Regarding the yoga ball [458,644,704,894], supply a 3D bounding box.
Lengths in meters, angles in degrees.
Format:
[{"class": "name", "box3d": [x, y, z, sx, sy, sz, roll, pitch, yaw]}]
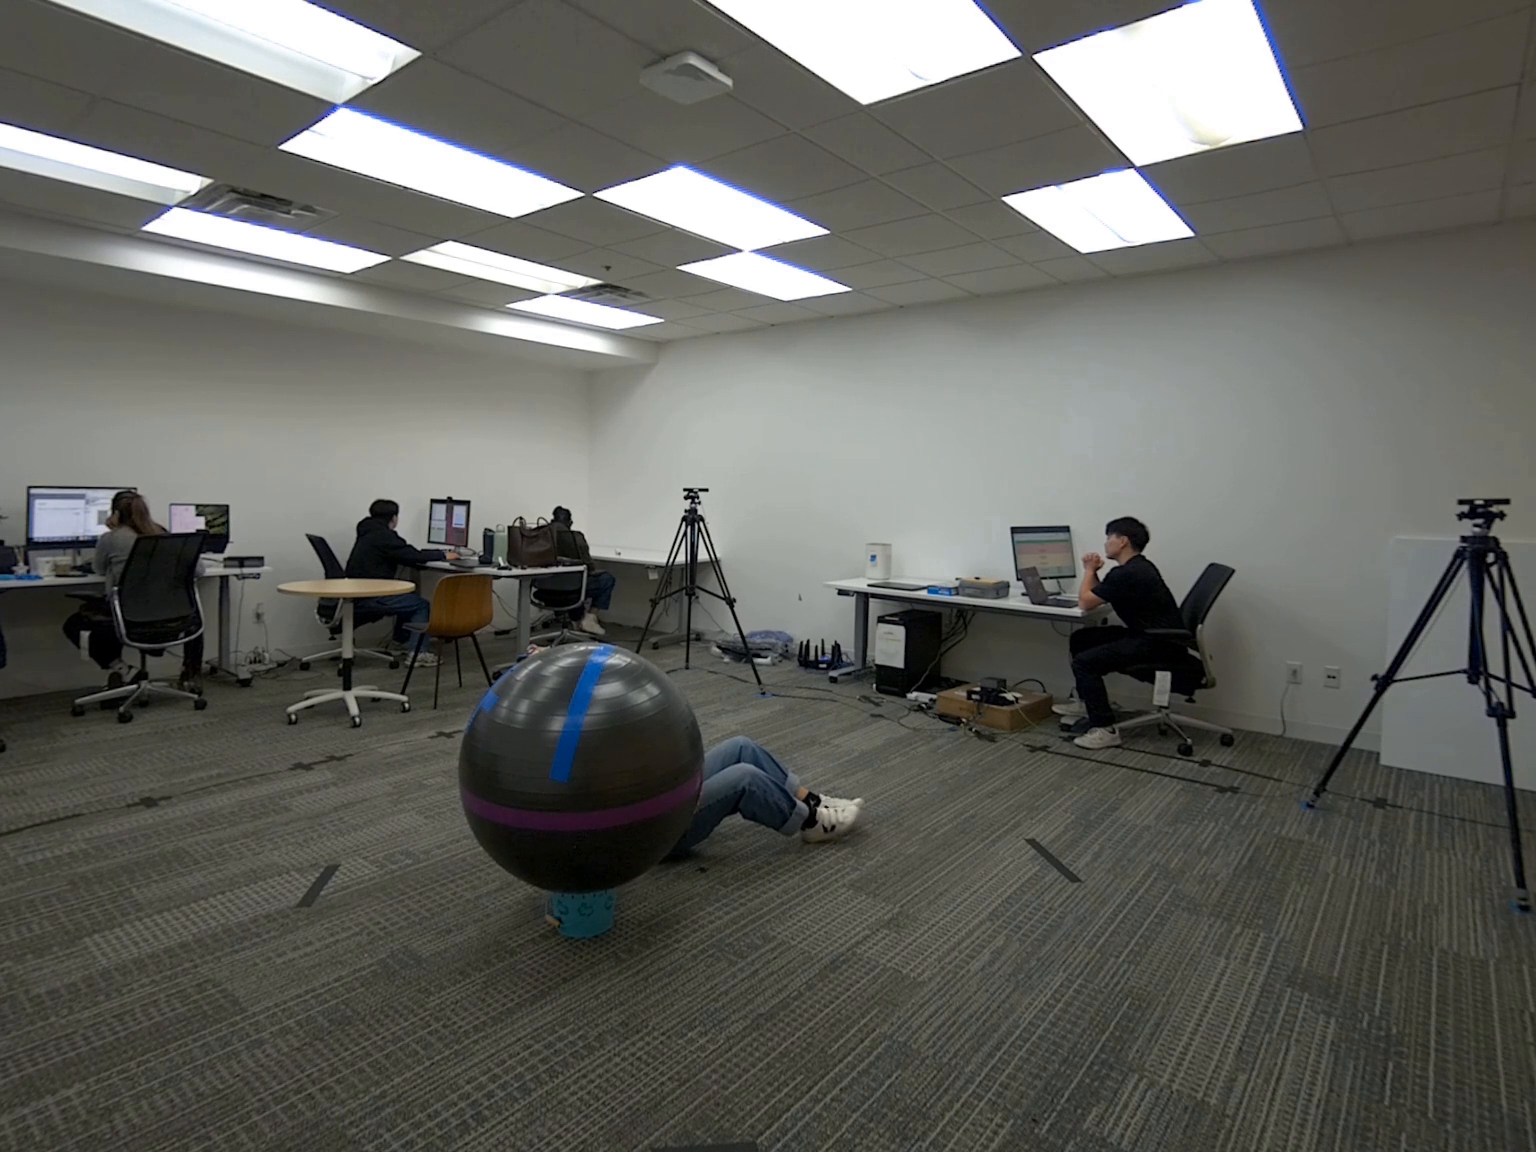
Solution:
[{"class": "yoga ball", "box3d": [-0.590, 0.594, 2.678, 0.757, 0.756, 0.761, 1, 4, -2]}]
